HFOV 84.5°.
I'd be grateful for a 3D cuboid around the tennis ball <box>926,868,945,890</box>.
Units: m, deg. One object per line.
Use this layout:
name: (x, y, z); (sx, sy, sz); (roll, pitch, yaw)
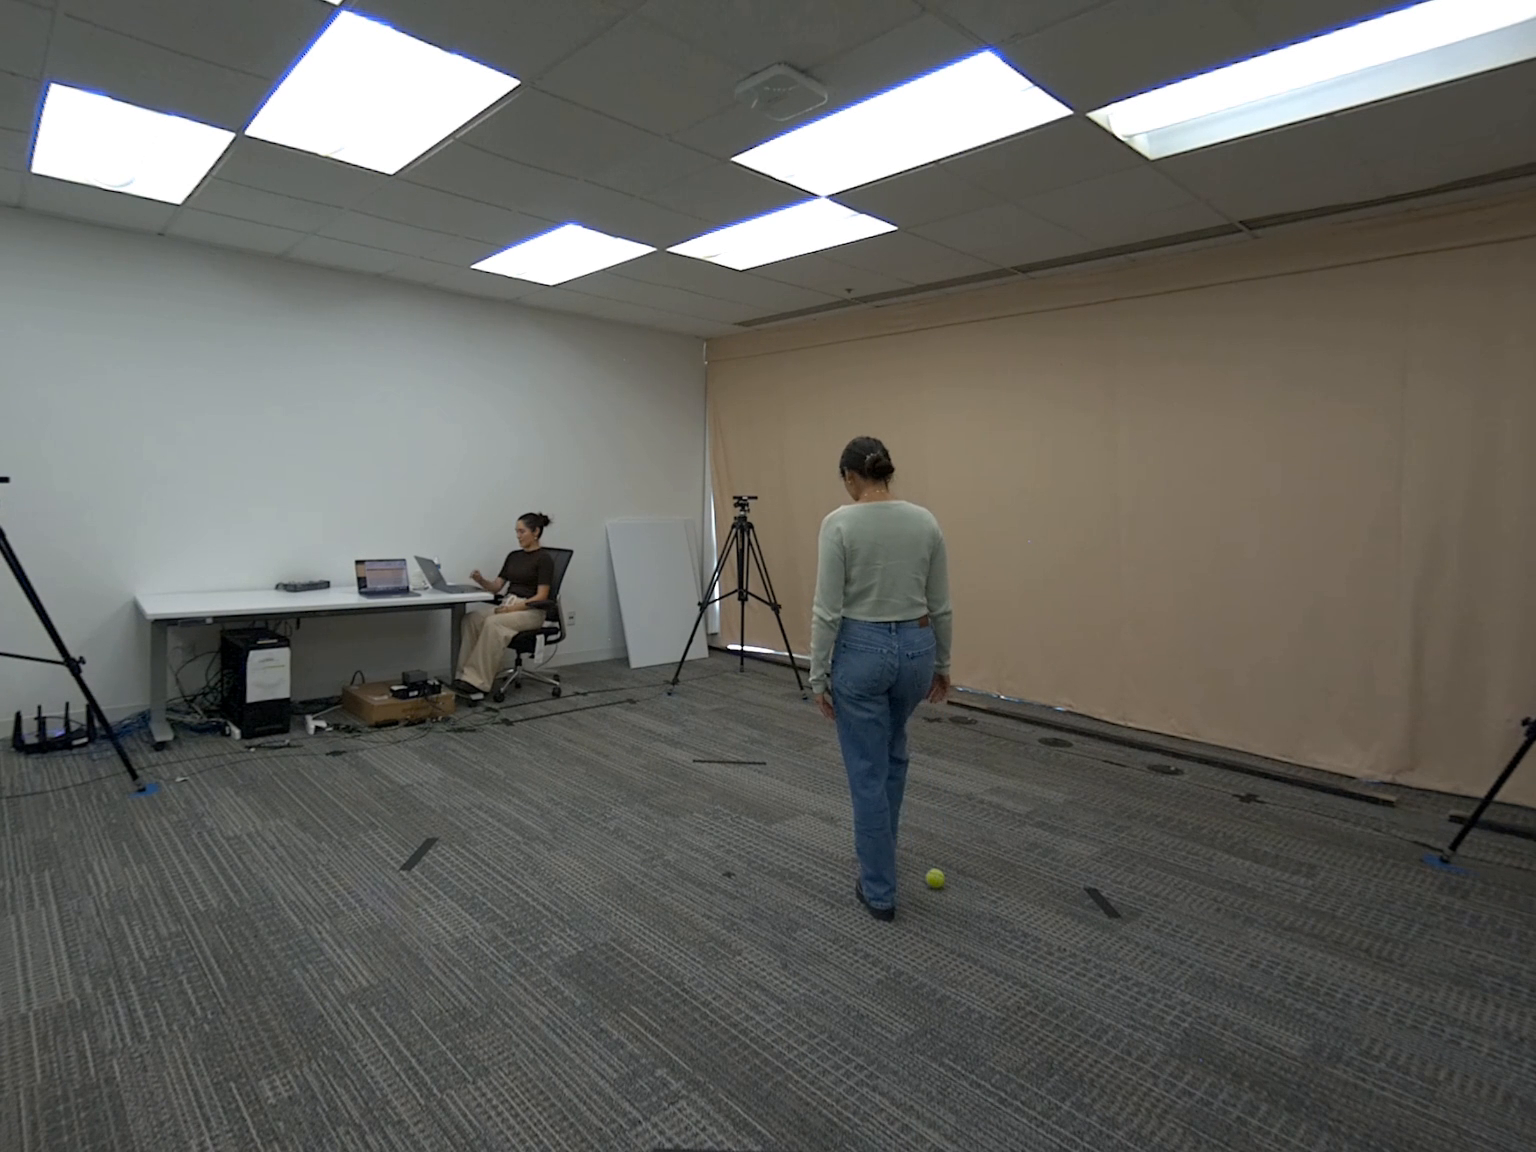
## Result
tennis ball: (0.597, 1.079, 3.044); (0.066, 0.066, 0.067); (1, 4, -1)
